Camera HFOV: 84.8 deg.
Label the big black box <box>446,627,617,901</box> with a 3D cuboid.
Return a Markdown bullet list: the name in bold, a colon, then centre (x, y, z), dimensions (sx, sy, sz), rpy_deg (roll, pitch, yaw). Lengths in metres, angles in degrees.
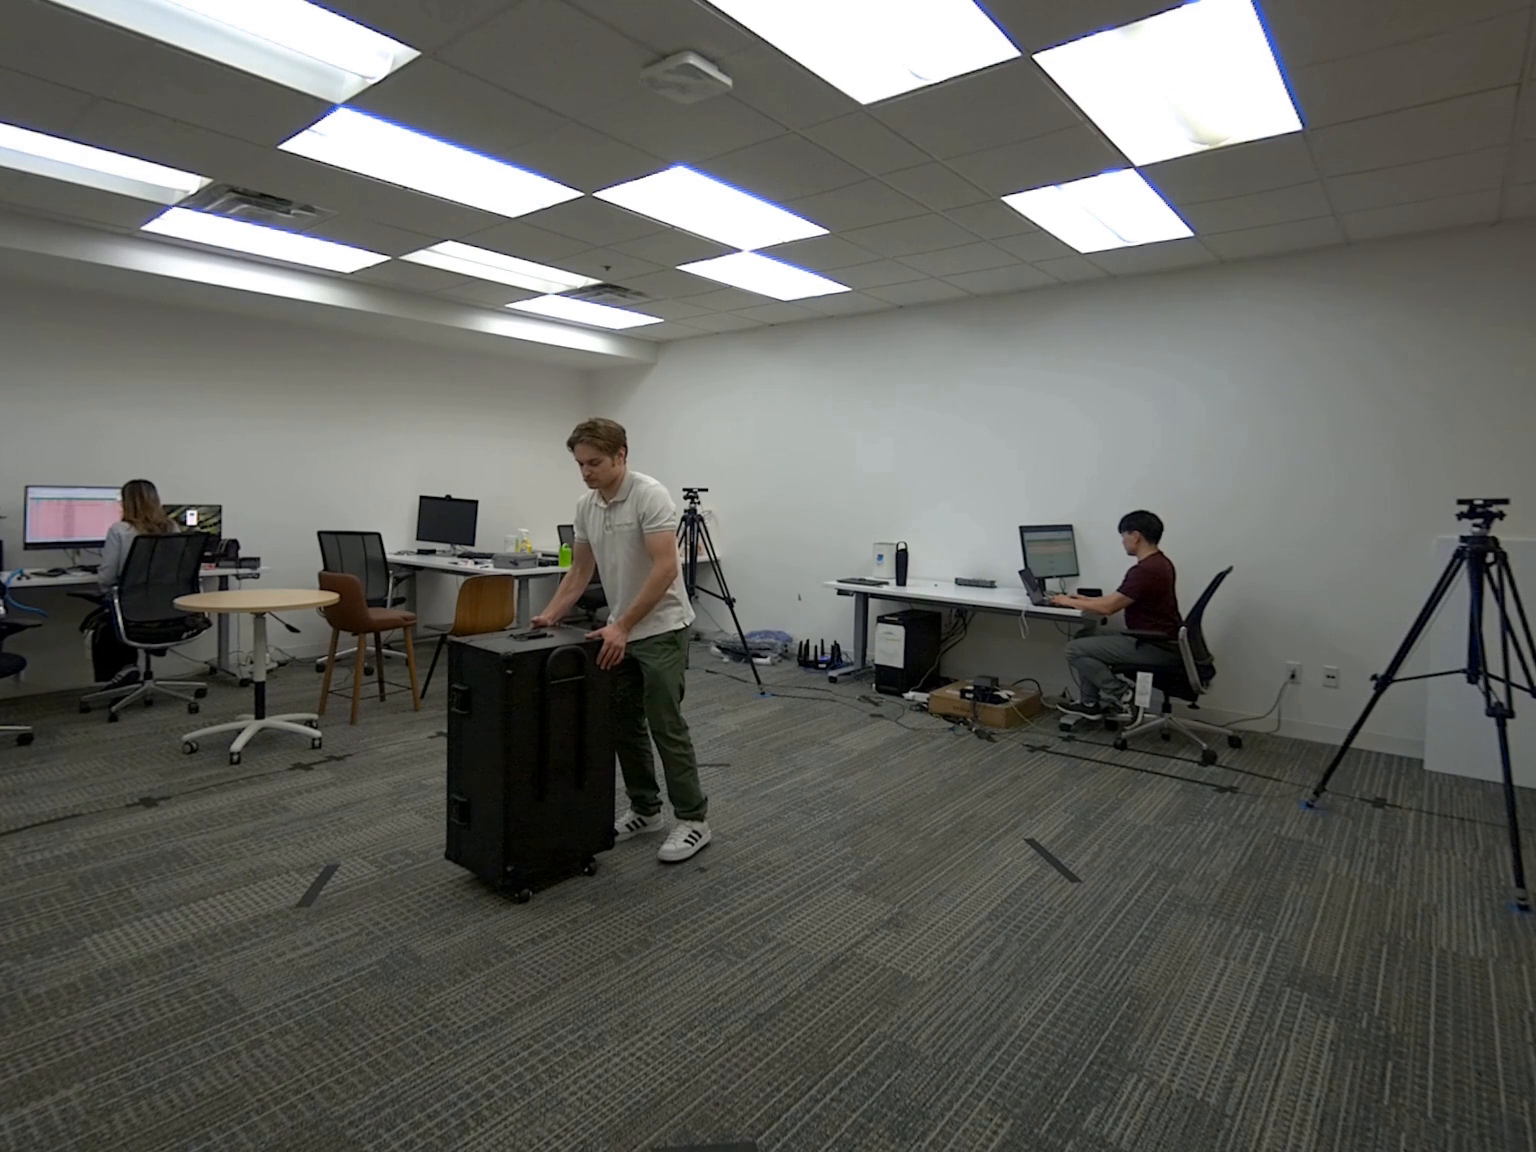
- **big black box**: centre (-0.848, 0.646, 3.029), dimensions (0.398, 0.865, 0.508), rpy_deg (5, 5, 40)
